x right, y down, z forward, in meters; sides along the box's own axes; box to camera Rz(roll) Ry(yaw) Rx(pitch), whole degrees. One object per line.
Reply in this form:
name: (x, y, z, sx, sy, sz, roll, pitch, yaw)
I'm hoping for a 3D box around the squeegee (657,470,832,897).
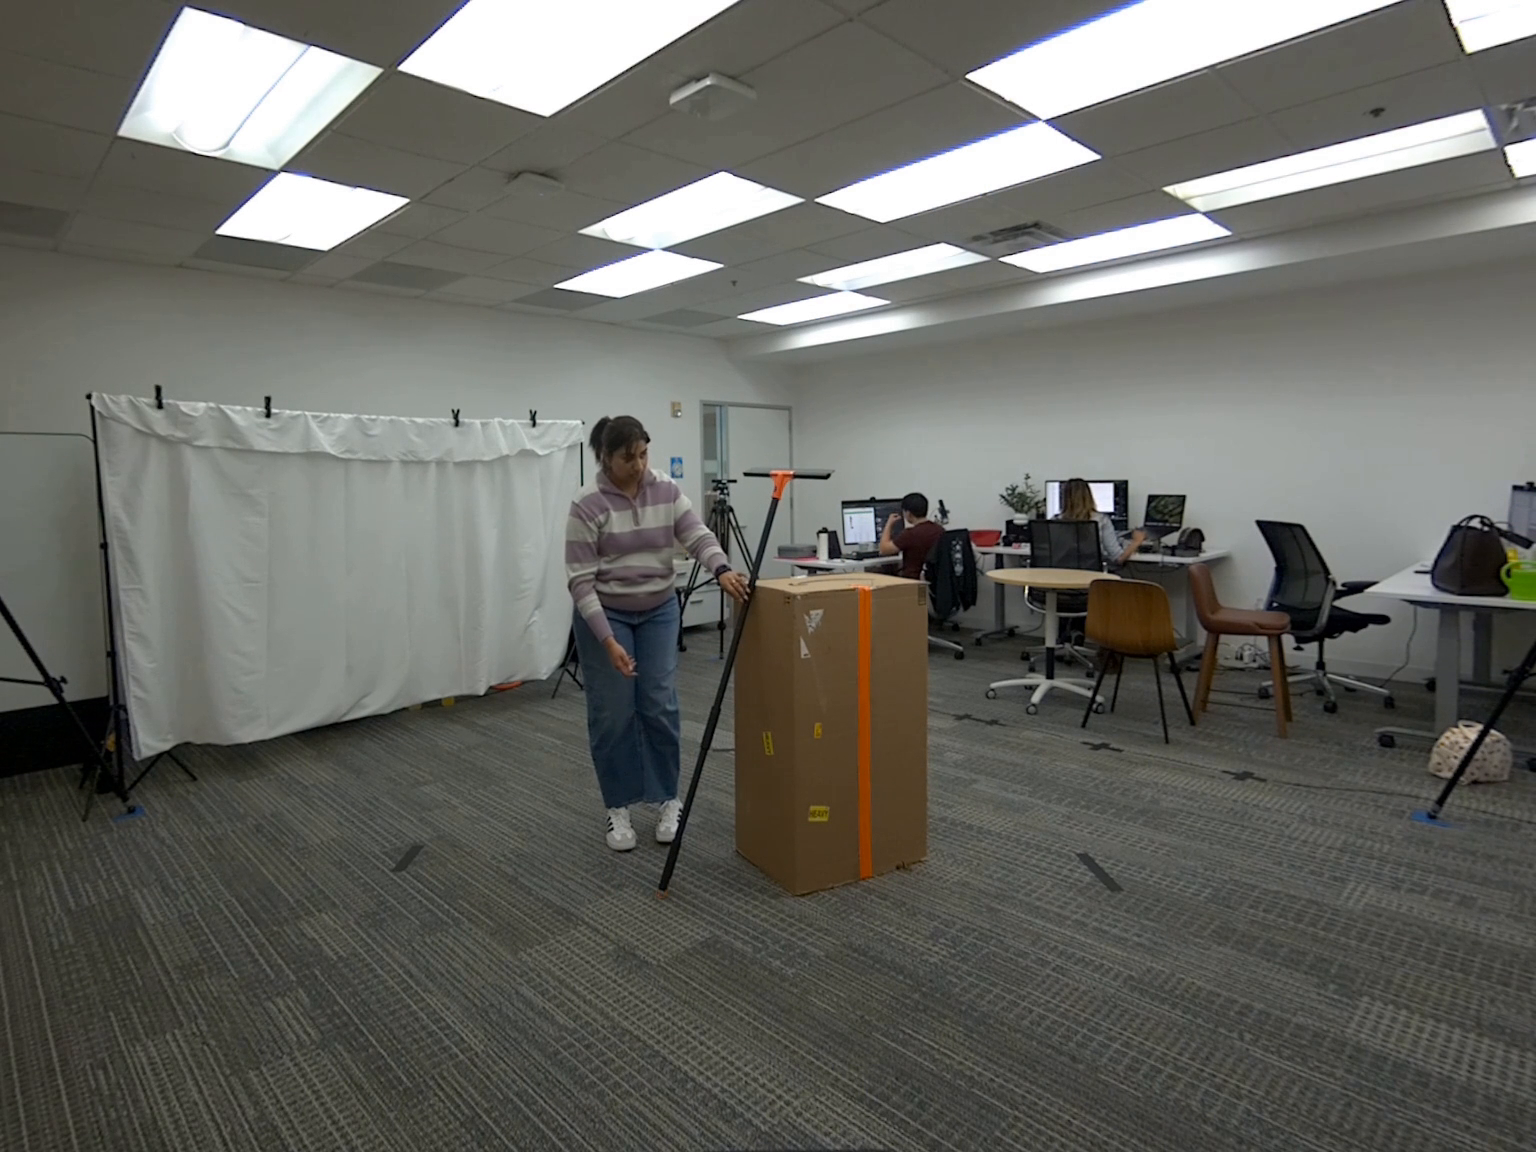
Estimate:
squeegee: (-0.154, 0.336, 2.967, 0.051, 1.547, 0.451, 25, -13, -40)
